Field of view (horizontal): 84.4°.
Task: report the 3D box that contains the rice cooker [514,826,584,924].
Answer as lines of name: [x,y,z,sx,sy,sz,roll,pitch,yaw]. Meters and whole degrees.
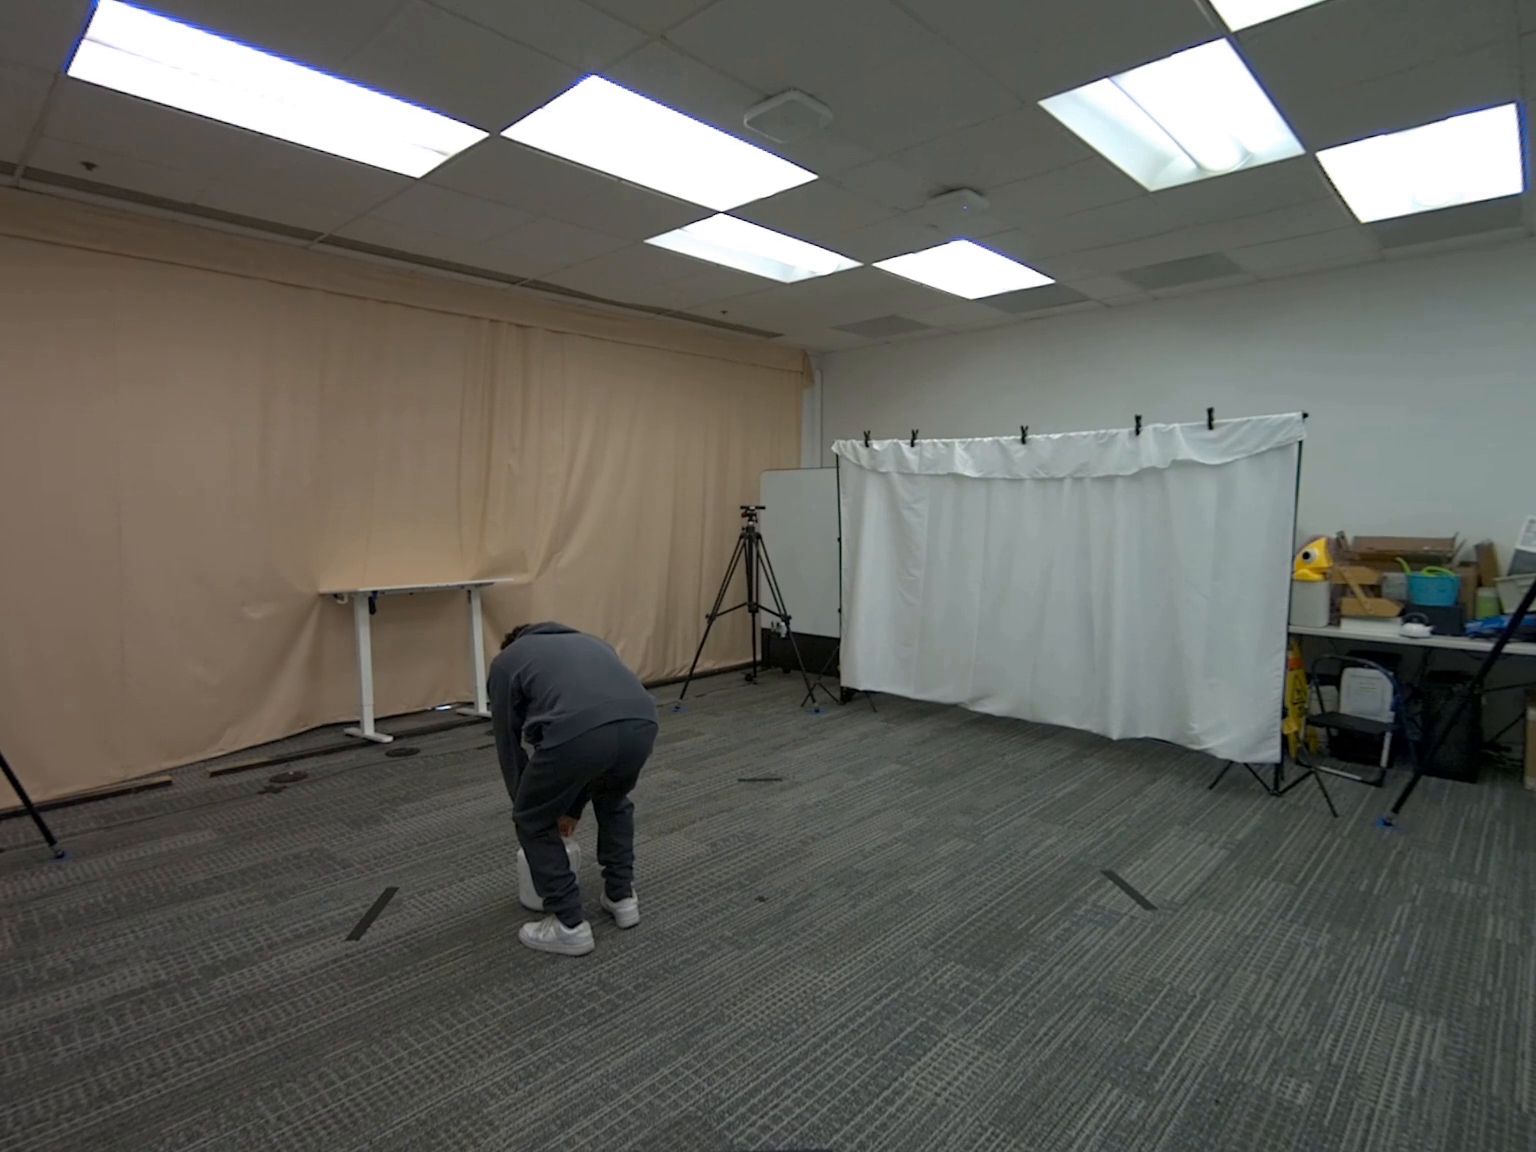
rice cooker: [-0.772,1.039,2.970,0.217,0.232,0.221,-2,2,-16]
